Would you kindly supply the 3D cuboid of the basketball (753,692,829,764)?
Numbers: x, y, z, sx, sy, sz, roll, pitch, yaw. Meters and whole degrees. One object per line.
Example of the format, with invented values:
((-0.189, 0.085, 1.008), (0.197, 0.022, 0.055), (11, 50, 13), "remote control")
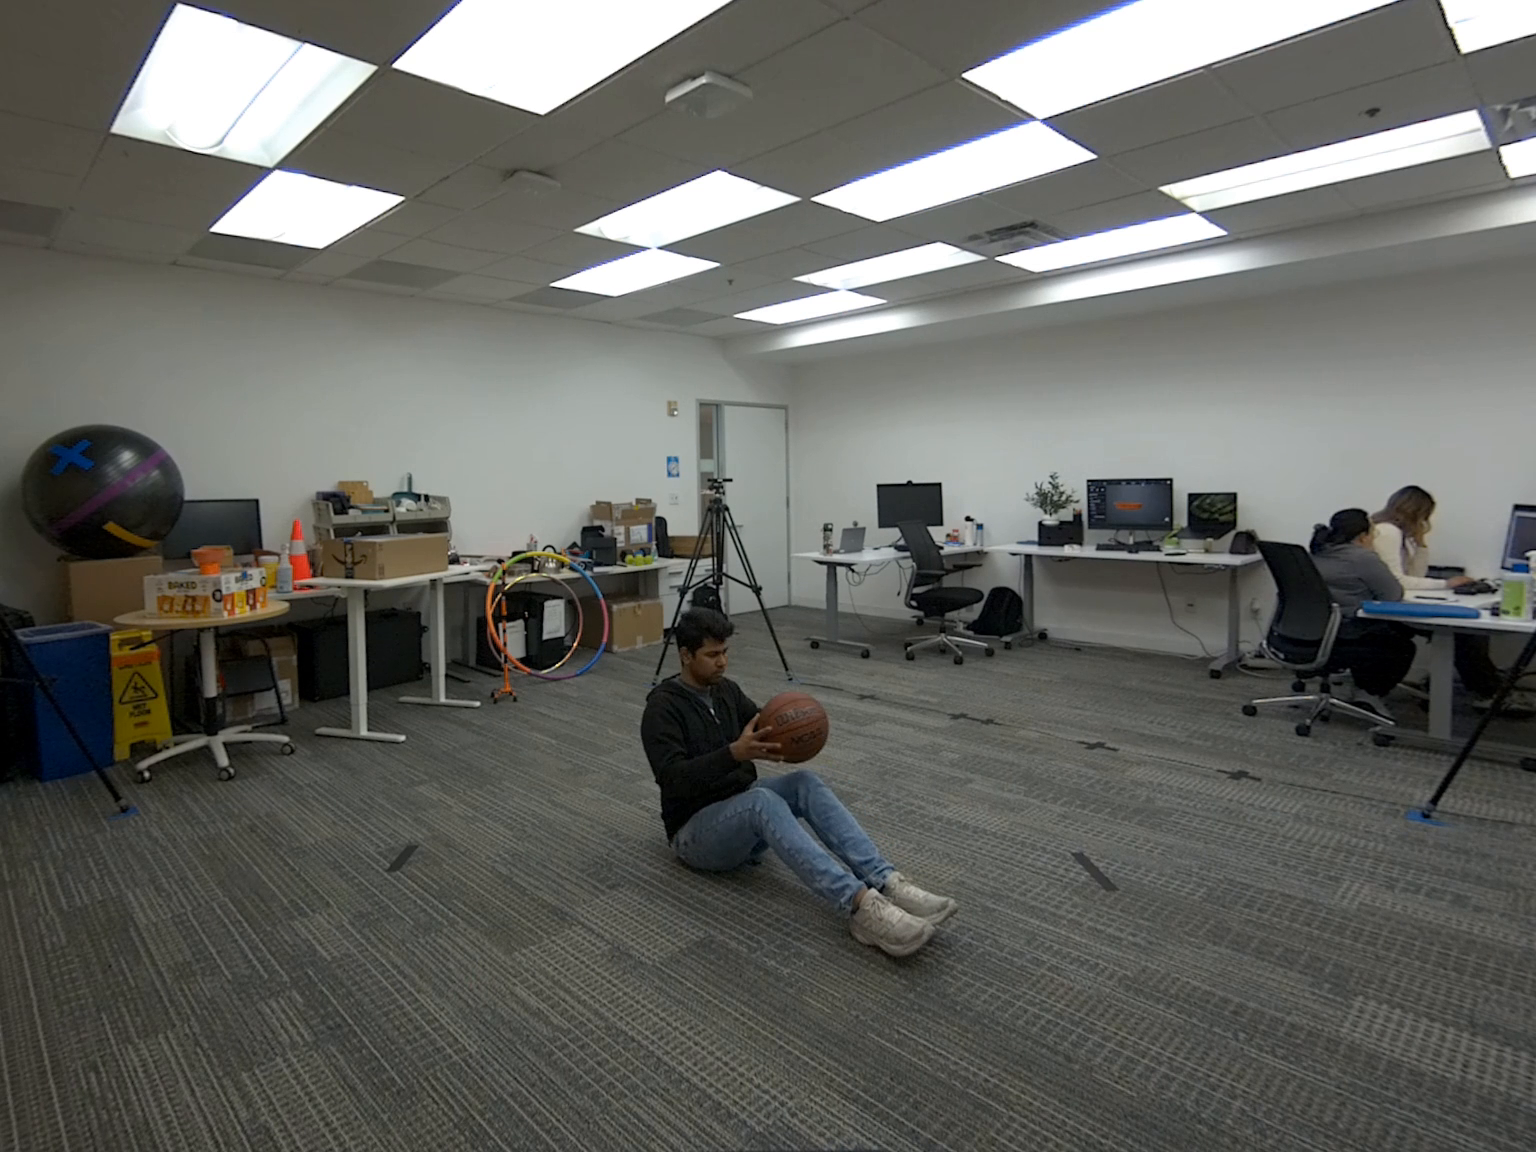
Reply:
((0.075, 0.522, 2.885), (0.236, 0.235, 0.237), (-1, 5, -2), "basketball")
